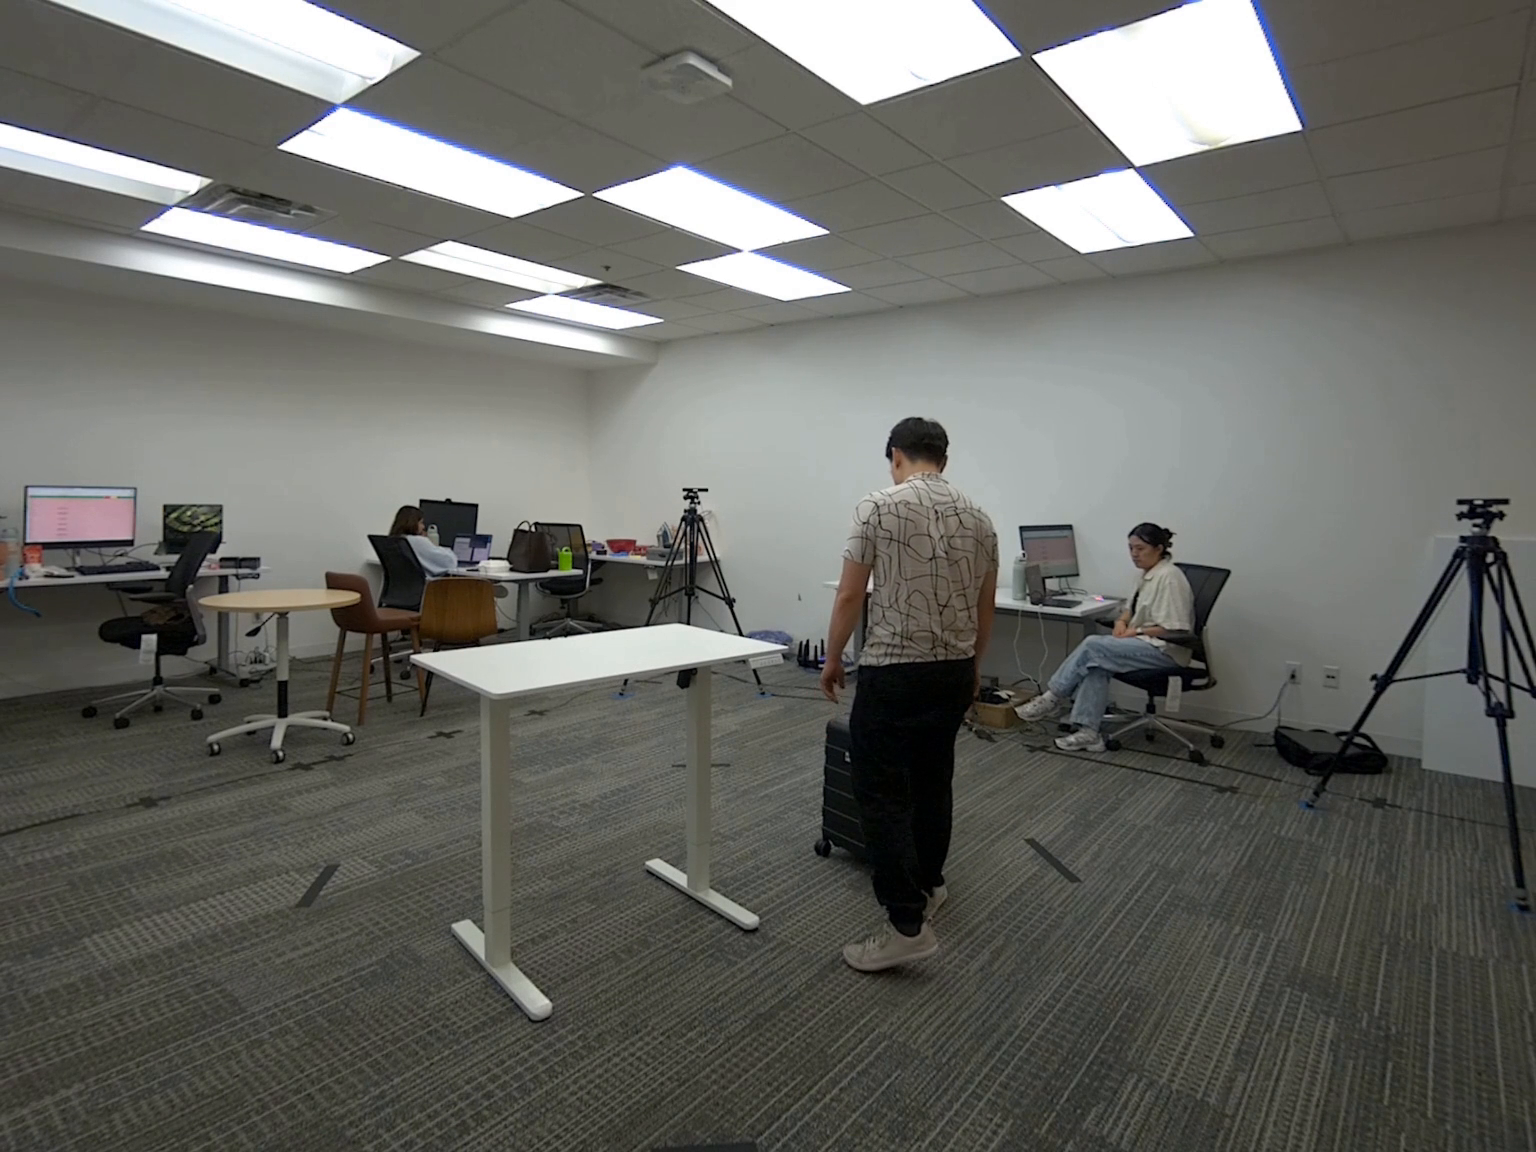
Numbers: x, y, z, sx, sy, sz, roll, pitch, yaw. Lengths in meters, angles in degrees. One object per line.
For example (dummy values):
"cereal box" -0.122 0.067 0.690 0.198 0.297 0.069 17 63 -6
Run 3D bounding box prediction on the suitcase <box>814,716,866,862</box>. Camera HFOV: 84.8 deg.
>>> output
"suitcase" 0.395 0.794 3.214 0.240 0.548 0.388 0 3 -41
